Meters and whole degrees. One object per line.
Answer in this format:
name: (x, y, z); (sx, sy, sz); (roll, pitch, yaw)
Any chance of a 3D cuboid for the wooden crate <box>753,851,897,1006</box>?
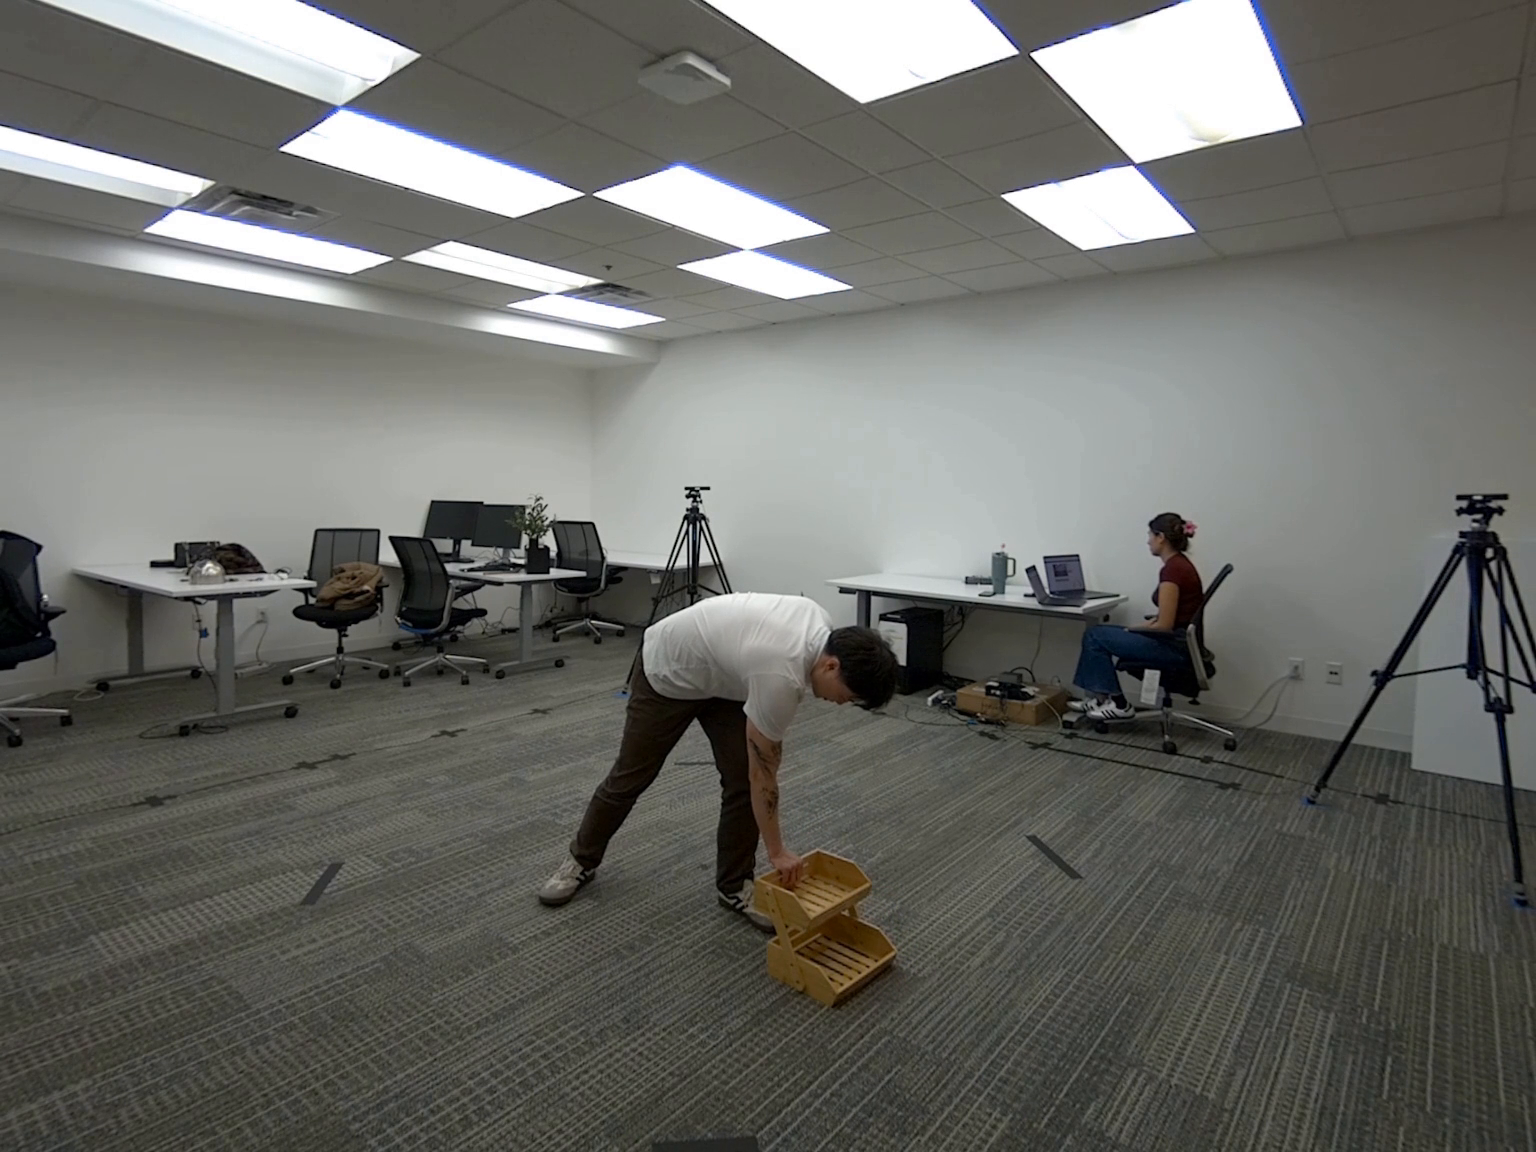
wooden crate: (0.164, 1.004, 2.469); (0.312, 0.272, 0.315); (4, 6, 42)
